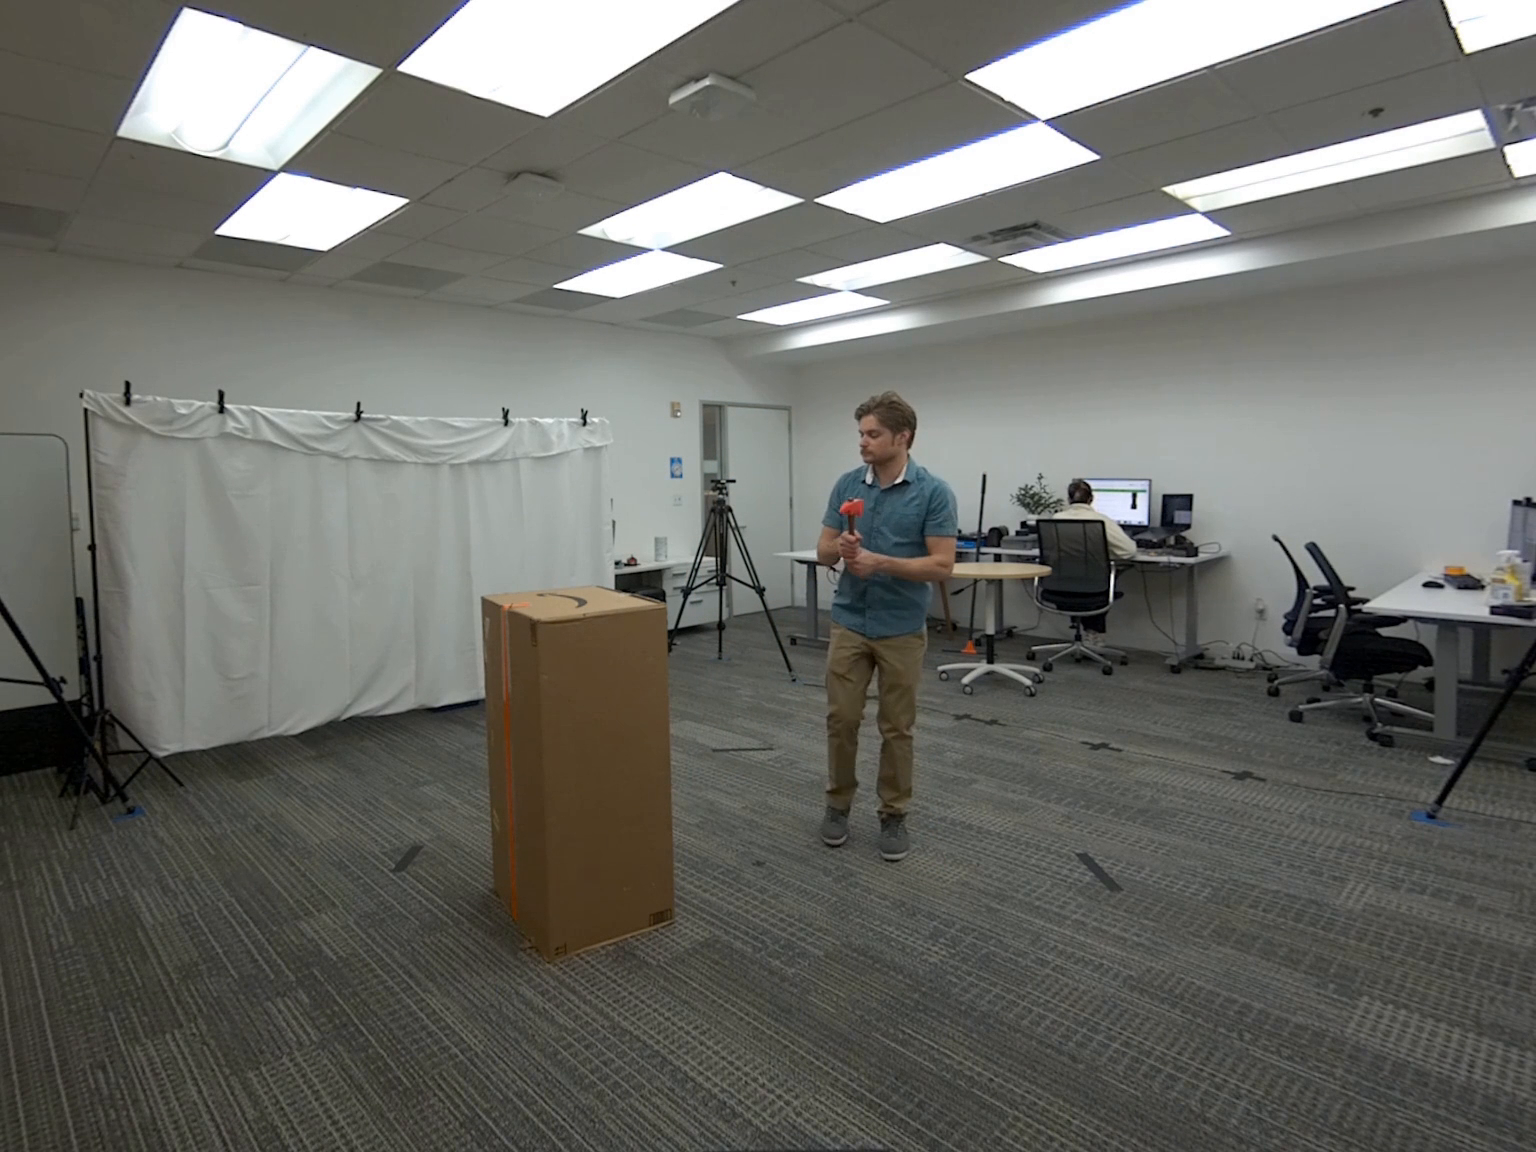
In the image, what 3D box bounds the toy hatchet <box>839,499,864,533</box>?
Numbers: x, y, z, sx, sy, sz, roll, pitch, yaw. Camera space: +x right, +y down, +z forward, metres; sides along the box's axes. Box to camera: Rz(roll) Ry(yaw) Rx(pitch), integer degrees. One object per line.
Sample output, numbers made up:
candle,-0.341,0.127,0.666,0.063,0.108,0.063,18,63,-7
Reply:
toy hatchet,0.308,-0.165,3.002,0.030,0.261,0.131,12,46,39
